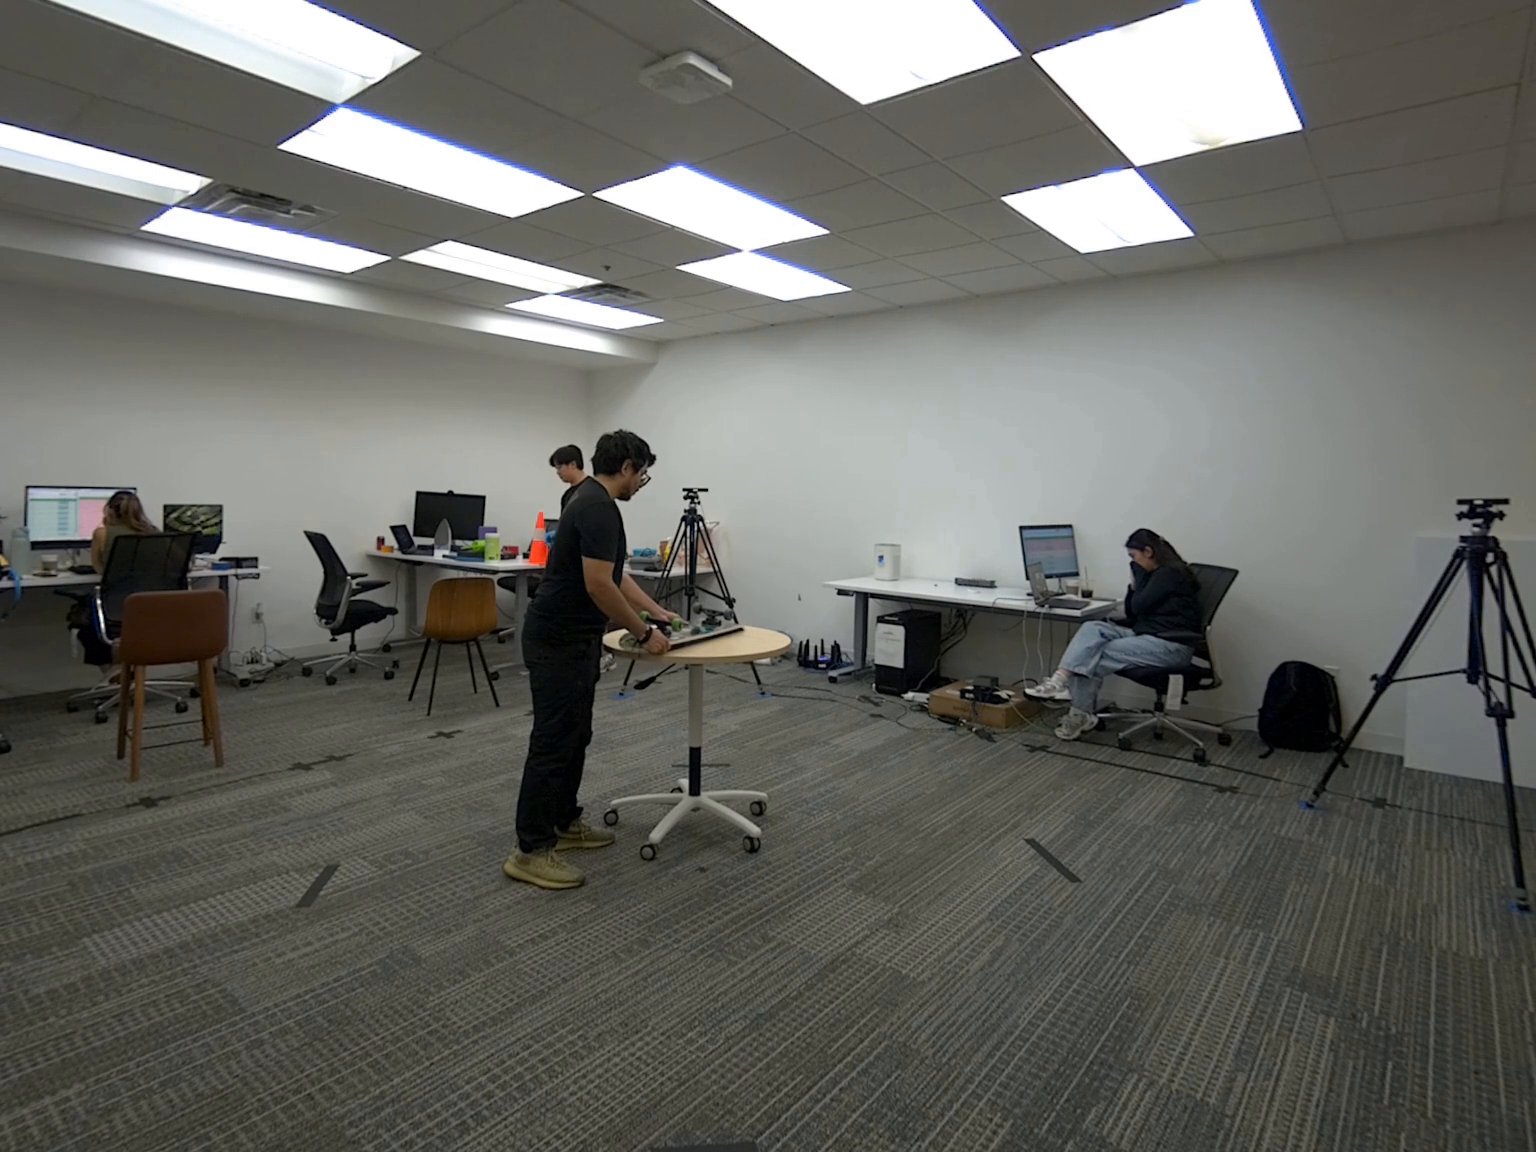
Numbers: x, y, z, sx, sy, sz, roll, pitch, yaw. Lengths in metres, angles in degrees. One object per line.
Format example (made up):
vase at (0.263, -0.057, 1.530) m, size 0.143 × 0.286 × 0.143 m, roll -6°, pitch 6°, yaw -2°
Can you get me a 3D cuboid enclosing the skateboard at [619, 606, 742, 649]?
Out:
skateboard at (-0.345, 0.201, 3.456) m, size 0.200 × 0.110 × 0.764 m, roll 9°, pitch 8°, yaw 30°
